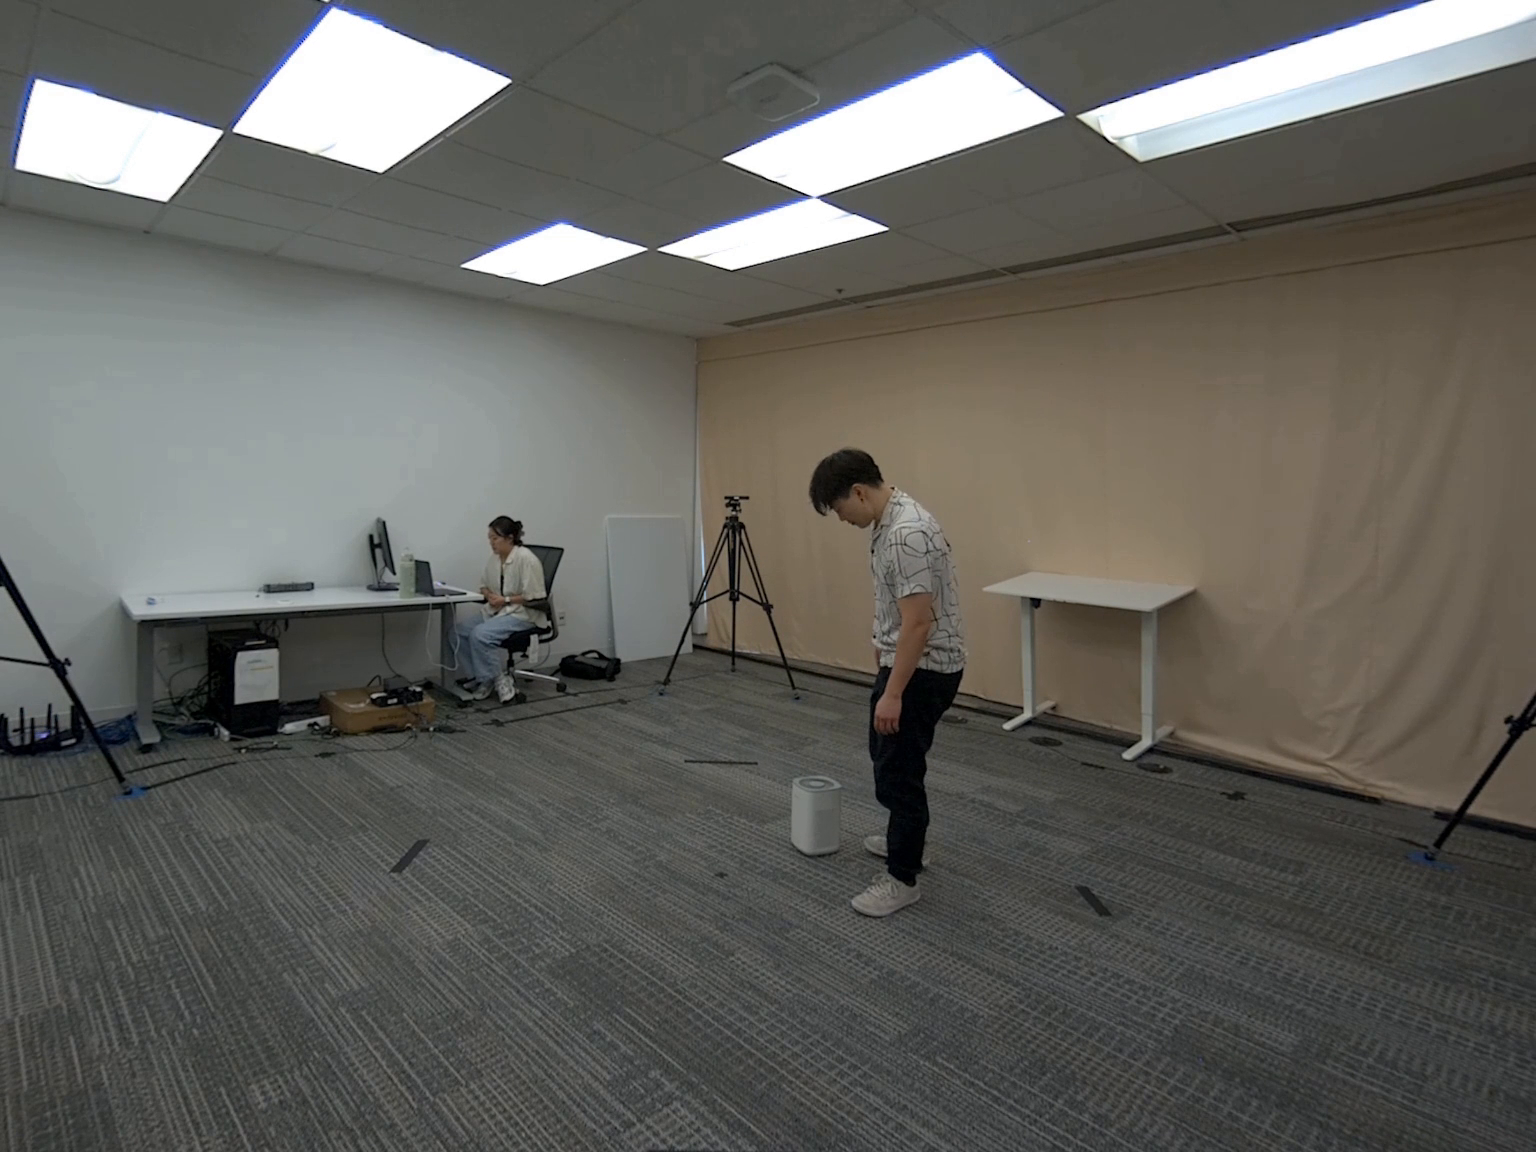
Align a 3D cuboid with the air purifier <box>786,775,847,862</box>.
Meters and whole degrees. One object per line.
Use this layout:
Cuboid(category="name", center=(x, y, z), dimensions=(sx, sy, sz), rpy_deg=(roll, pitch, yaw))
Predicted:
Cuboid(category="air purifier", center=(0.188, 0.956, 3.358), dimensions=(0.168, 0.265, 0.175), rpy_deg=(0, 3, -25))
